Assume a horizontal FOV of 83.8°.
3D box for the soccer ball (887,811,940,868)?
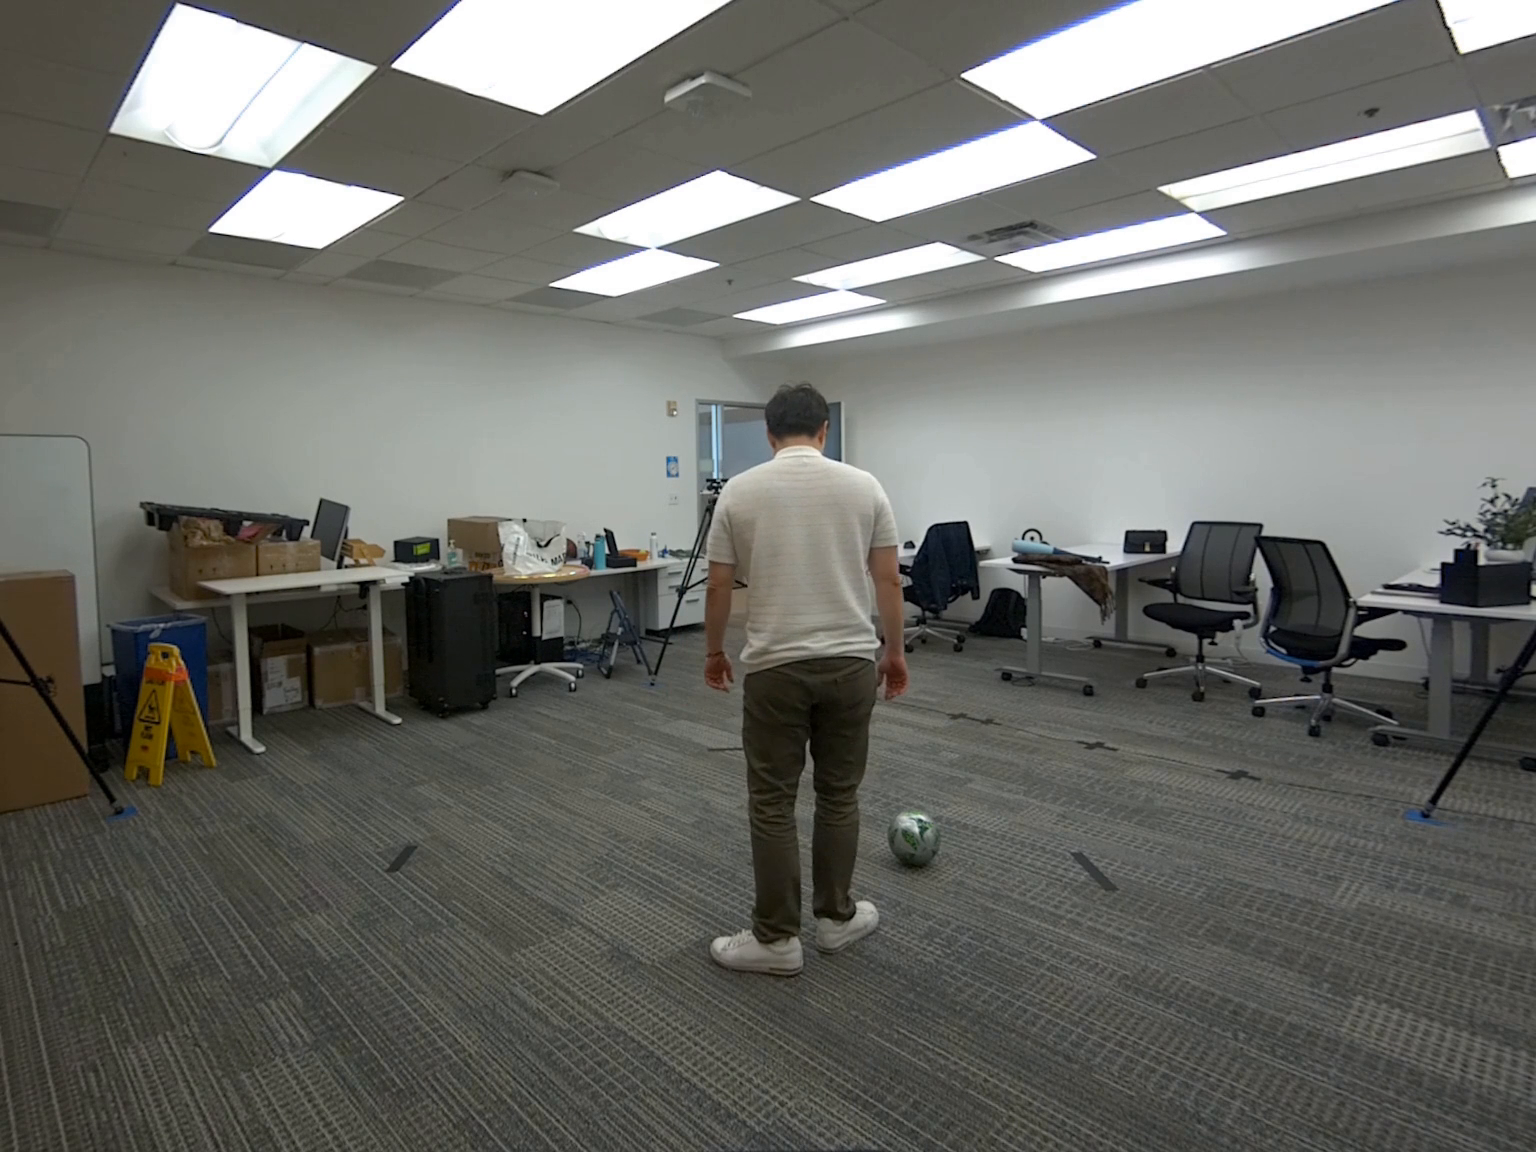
[{"bbox_3d":[0.527,0.942,3.084,0.187,0.187,0.188,-1,5,-2],"label":"soccer ball"}]
